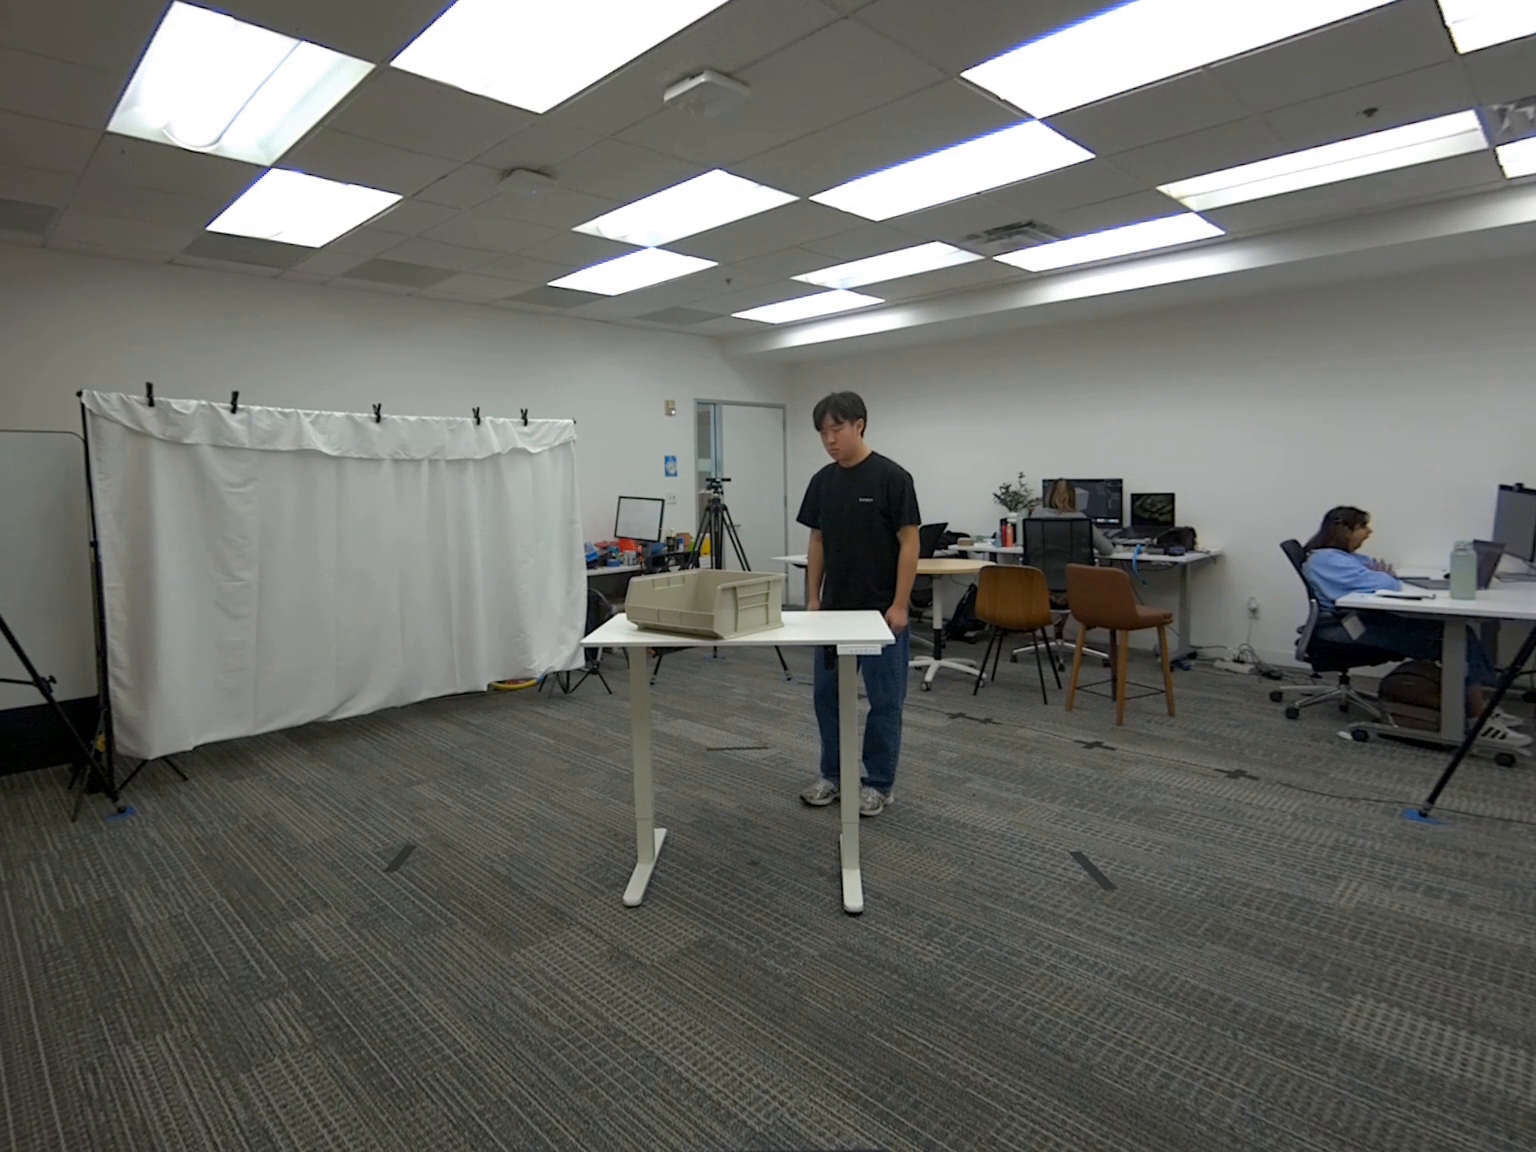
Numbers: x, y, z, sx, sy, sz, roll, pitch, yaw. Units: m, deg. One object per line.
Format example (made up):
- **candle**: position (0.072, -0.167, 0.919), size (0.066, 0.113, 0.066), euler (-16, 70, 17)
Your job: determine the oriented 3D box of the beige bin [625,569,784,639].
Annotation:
- **beige bin**: position (-0.216, 0.094, 2.942), size (0.435, 0.188, 0.367), euler (3, 6, 40)
